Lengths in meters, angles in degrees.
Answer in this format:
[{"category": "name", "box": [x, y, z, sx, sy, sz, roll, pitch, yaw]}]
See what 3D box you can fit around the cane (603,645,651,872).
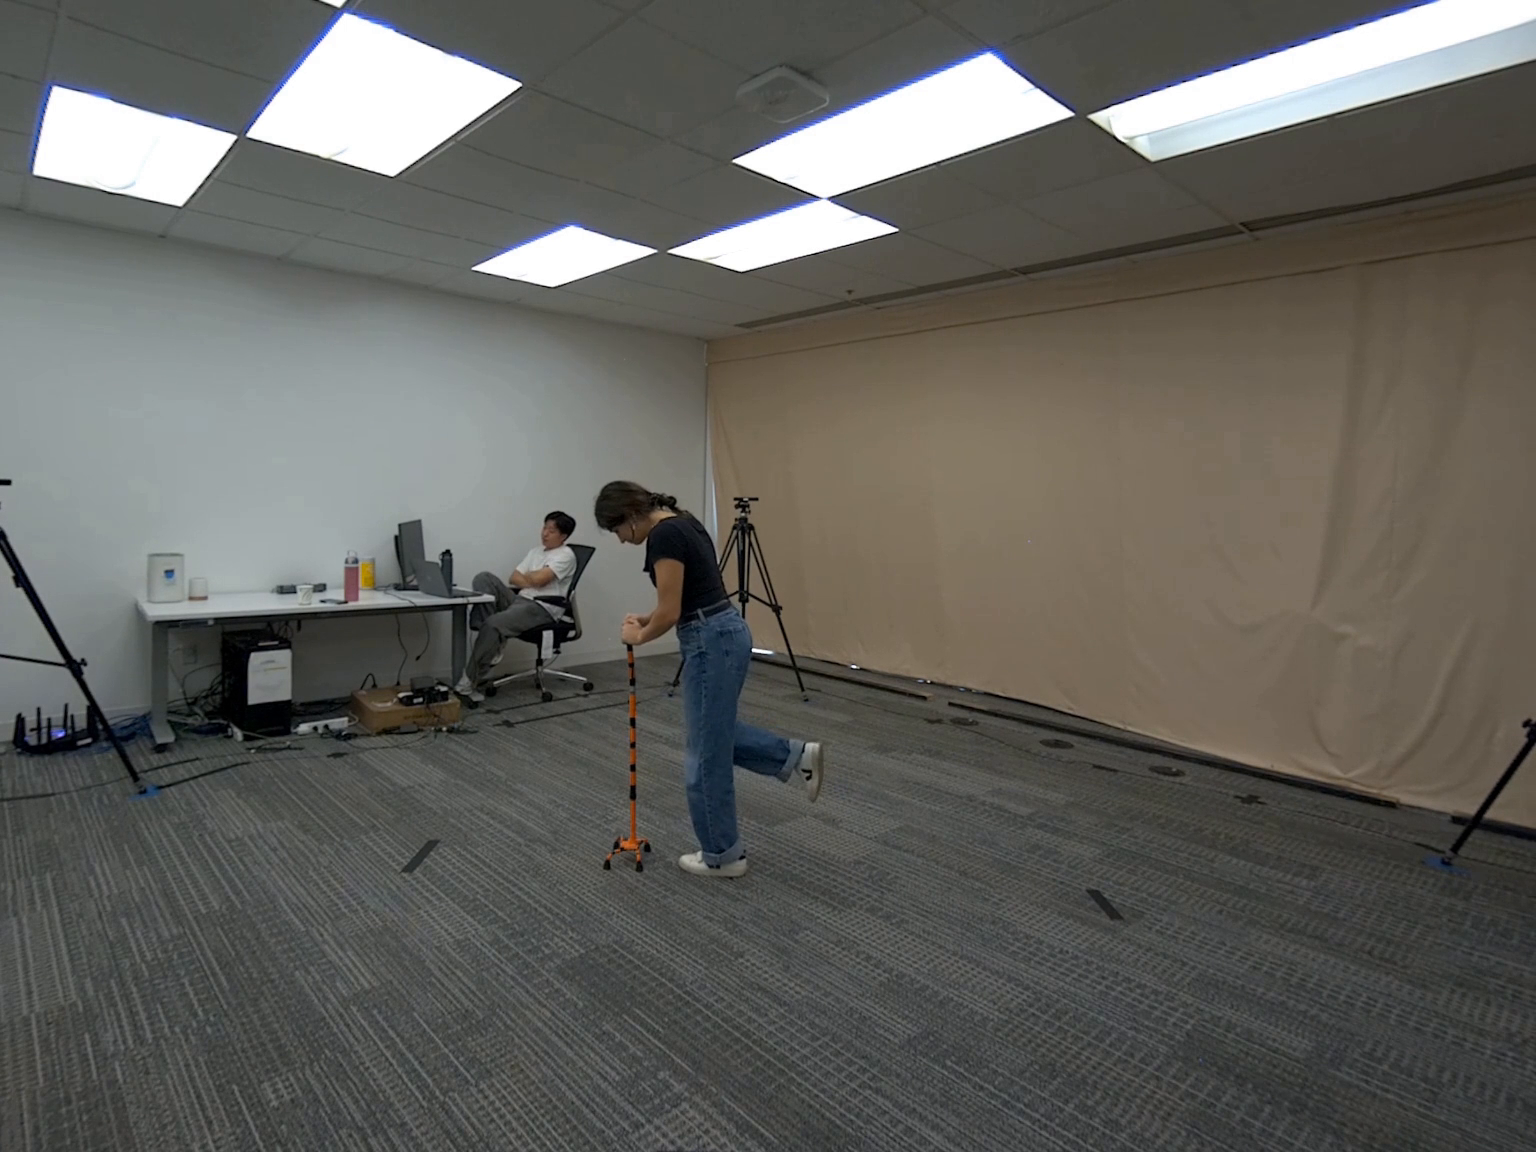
[{"category": "cane", "box": [-0.549, 0.639, 3.204, 0.152, 0.905, 0.206, -1, 3, 3]}]
